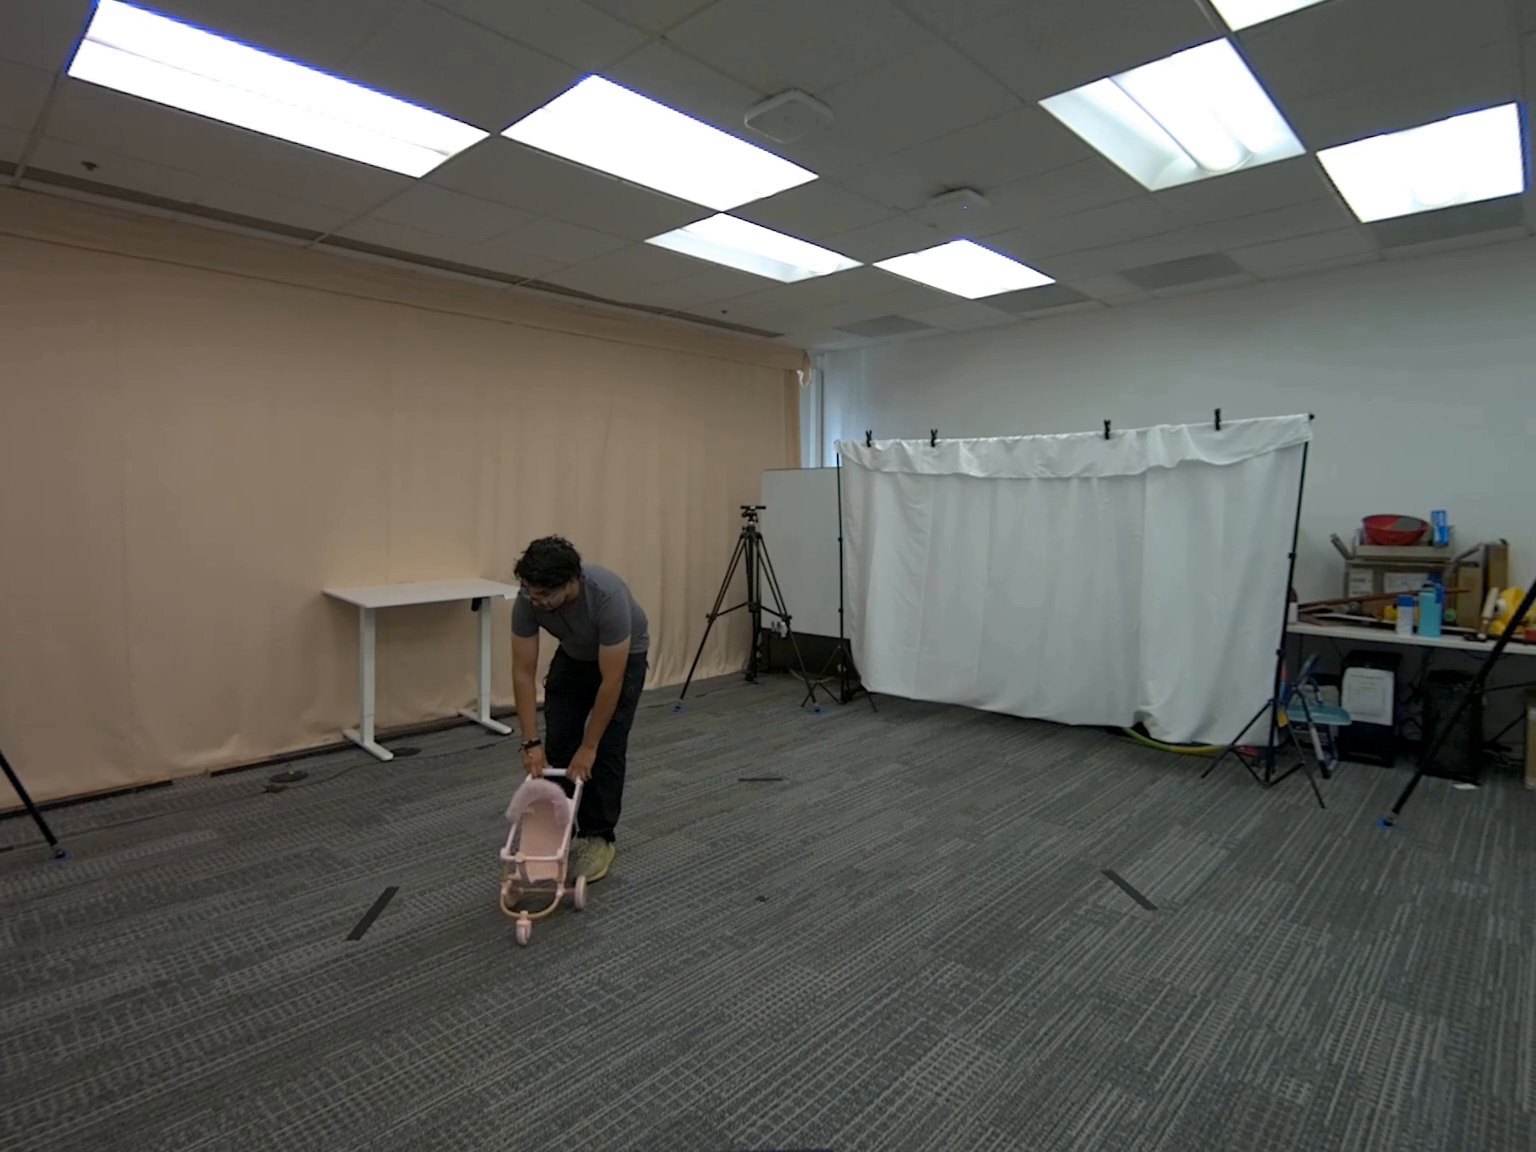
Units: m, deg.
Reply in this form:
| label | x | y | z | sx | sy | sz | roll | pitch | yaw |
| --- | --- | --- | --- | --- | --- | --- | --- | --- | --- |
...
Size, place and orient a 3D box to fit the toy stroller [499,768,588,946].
| label | x | y | z | sx | sy | sz | roll | pitch | yaw |
| --- | --- | --- | --- | --- | --- | --- | --- | --- | --- |
| toy stroller | -0.772 | 0.932 | 2.859 | 0.284 | 0.539 | 0.336 | 0 | -12 | 7 |
